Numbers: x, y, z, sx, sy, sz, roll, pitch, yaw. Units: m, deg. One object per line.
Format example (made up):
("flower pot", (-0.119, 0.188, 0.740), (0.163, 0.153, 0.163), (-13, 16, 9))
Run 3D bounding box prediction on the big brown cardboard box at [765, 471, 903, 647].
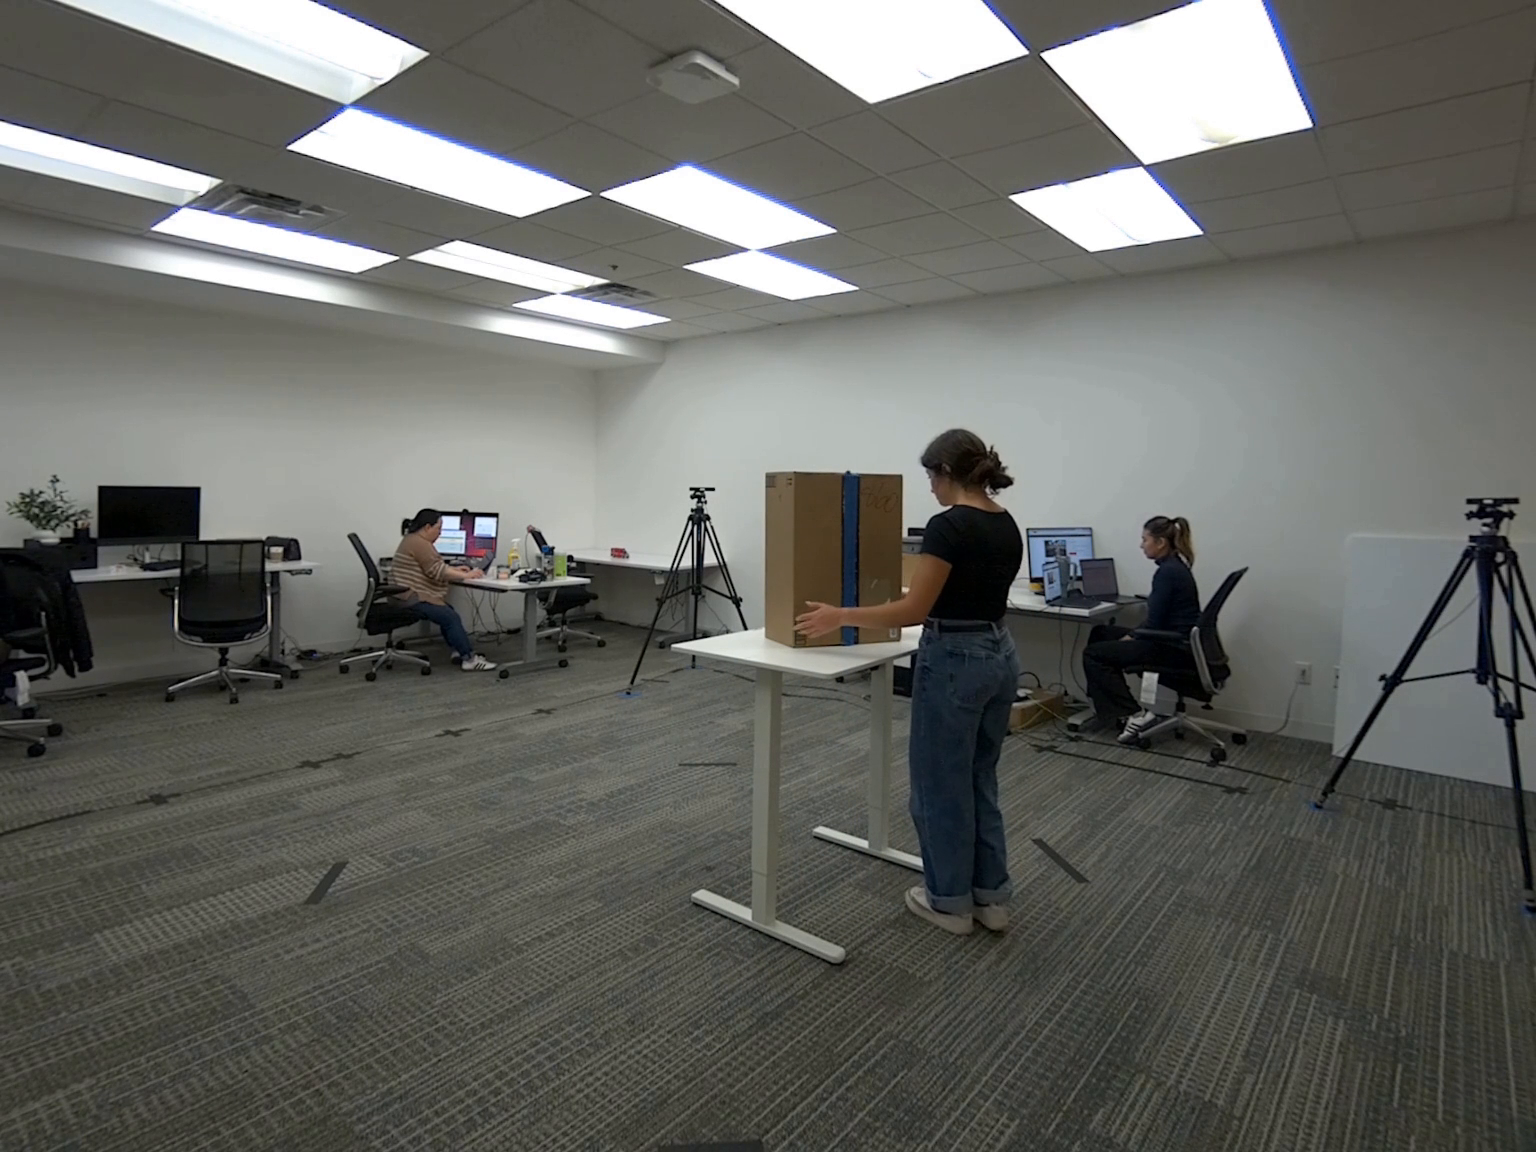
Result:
("big brown cardboard box", (0.210, -0.065, 2.887), (0.408, 0.587, 0.239), (-2, 3, -23))
